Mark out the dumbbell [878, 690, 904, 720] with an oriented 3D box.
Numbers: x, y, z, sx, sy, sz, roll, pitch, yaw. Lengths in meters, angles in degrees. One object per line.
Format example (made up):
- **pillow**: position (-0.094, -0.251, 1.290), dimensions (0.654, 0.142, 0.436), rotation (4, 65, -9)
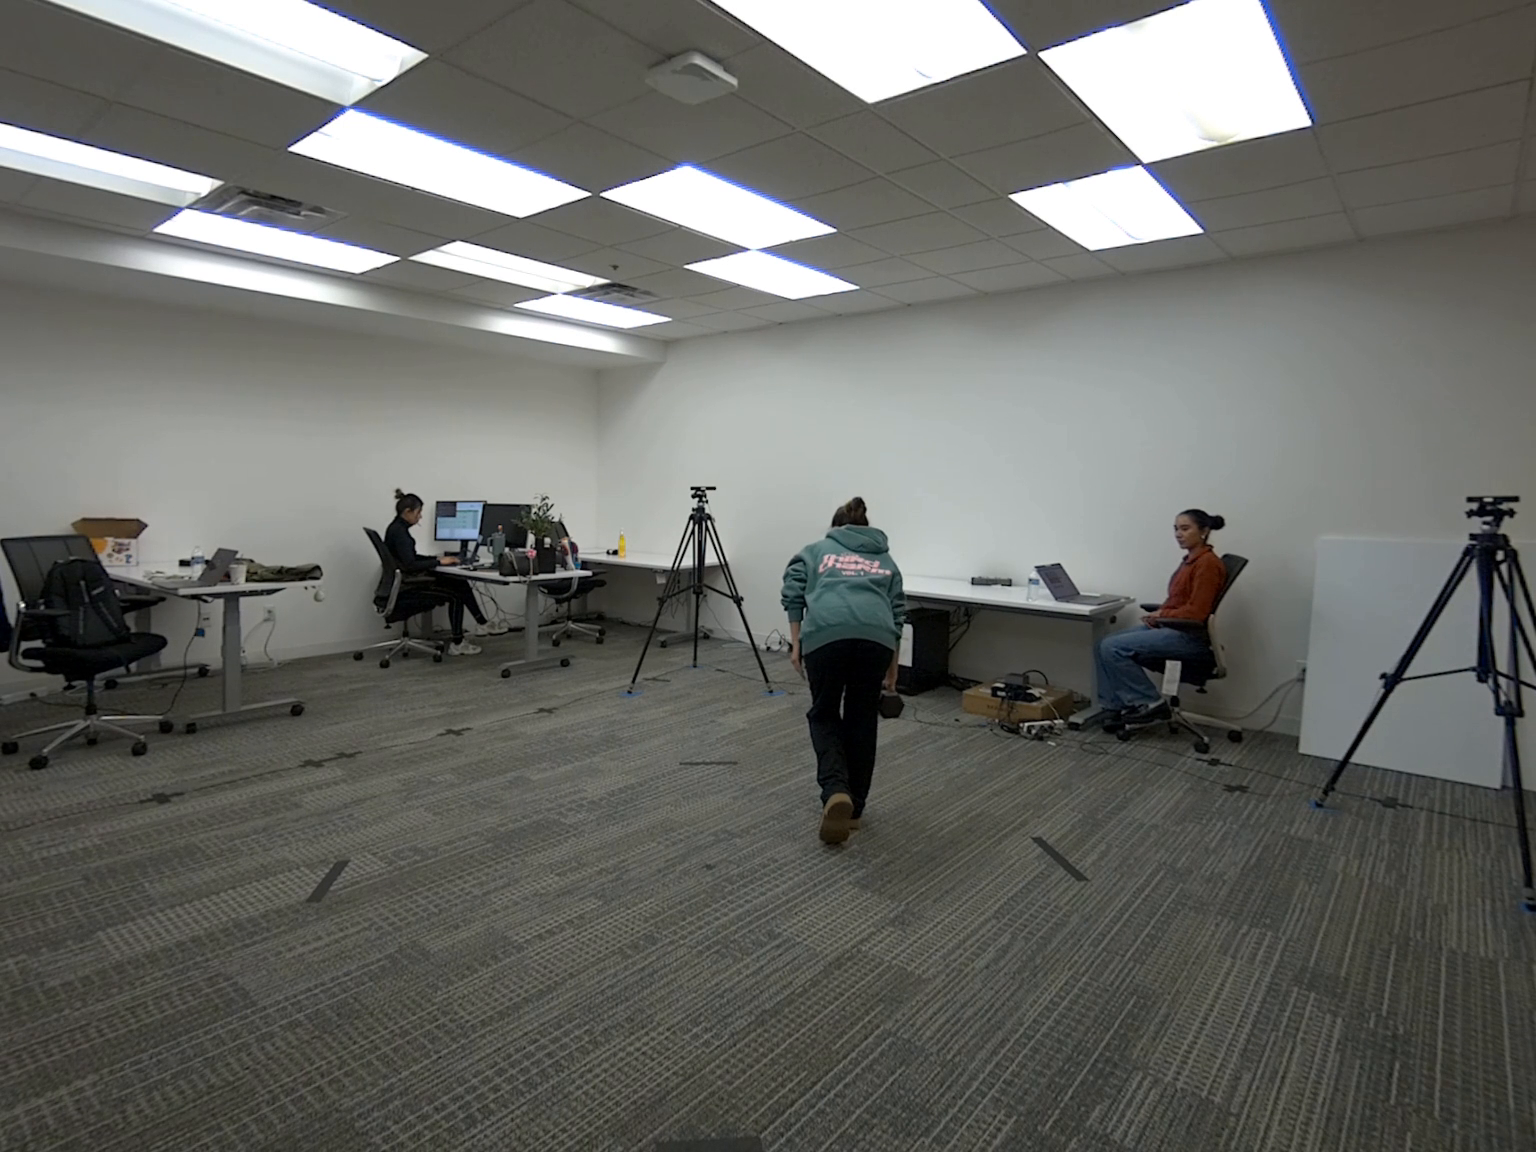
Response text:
- **dumbbell**: position (0.480, 0.525, 3.661), dimensions (0.108, 0.123, 0.296), rotation (28, 0, -9)
